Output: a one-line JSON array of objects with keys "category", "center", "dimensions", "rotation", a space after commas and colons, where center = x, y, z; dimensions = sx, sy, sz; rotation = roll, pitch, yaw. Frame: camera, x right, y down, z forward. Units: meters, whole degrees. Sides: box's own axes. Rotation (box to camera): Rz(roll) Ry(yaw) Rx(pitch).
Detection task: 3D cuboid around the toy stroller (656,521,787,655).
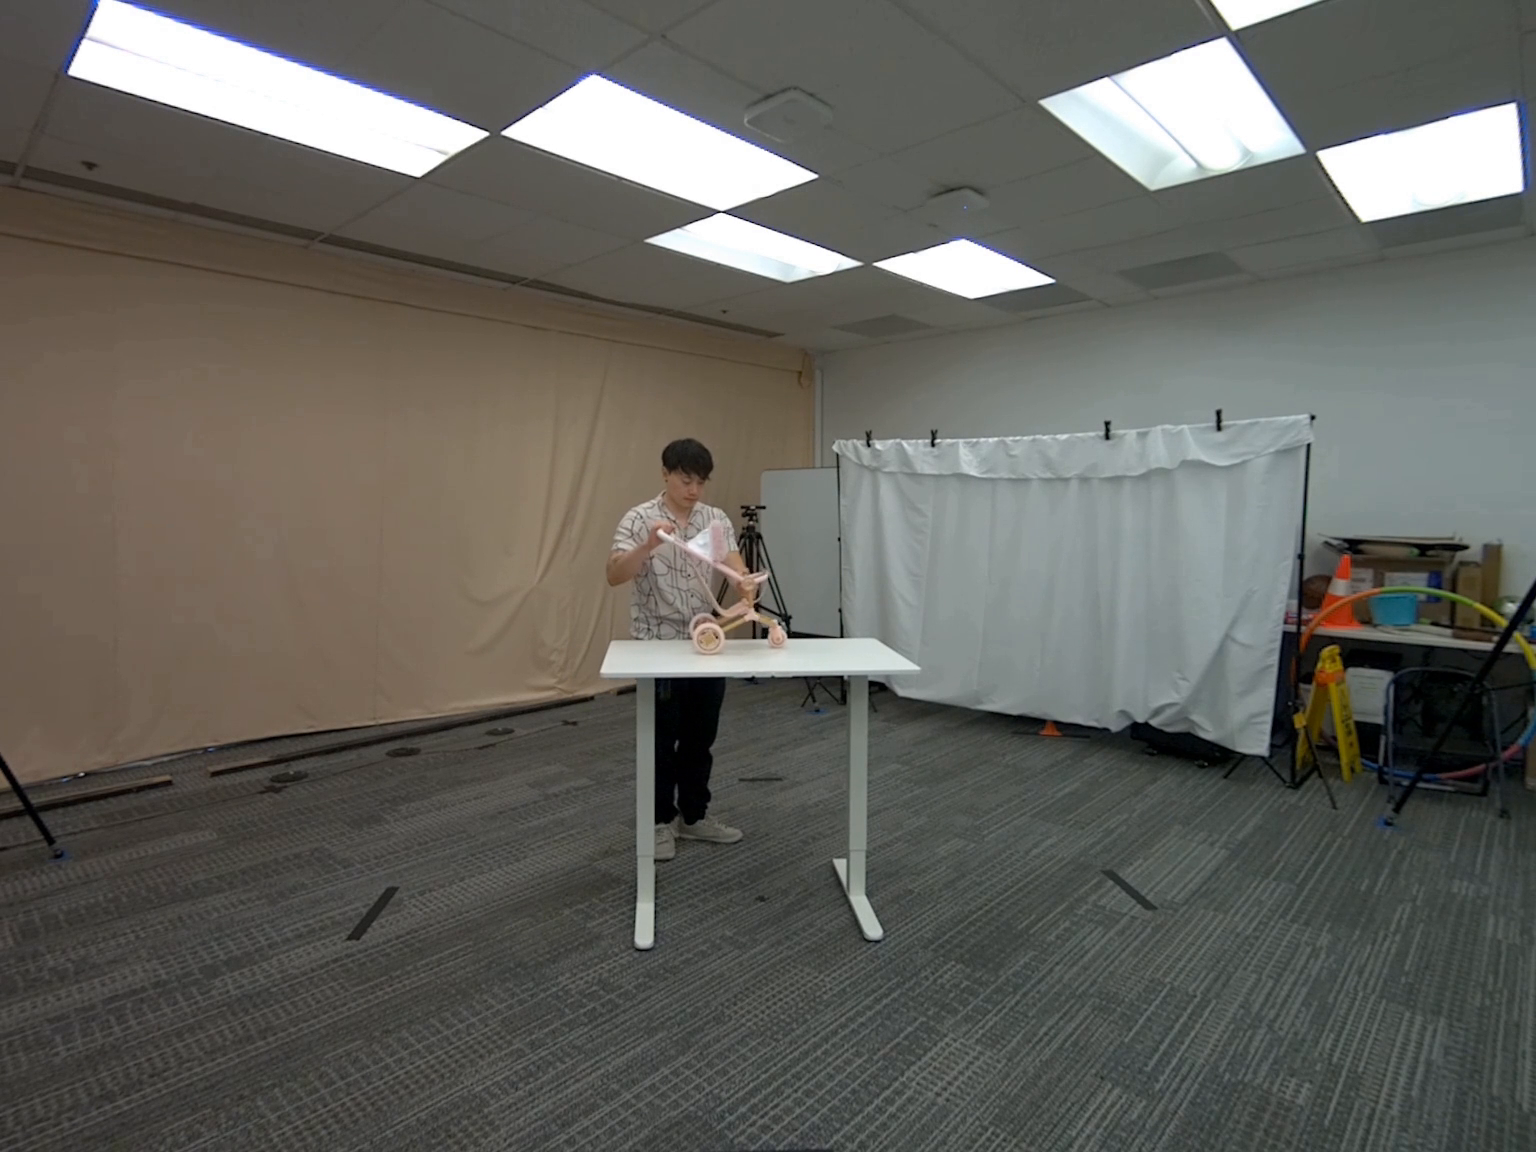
[{"category": "toy stroller", "center": [-0.150, 0.039, 2.996], "dimensions": [0.342, 0.533, 0.282], "rotation": [-15, 3, 1]}]
